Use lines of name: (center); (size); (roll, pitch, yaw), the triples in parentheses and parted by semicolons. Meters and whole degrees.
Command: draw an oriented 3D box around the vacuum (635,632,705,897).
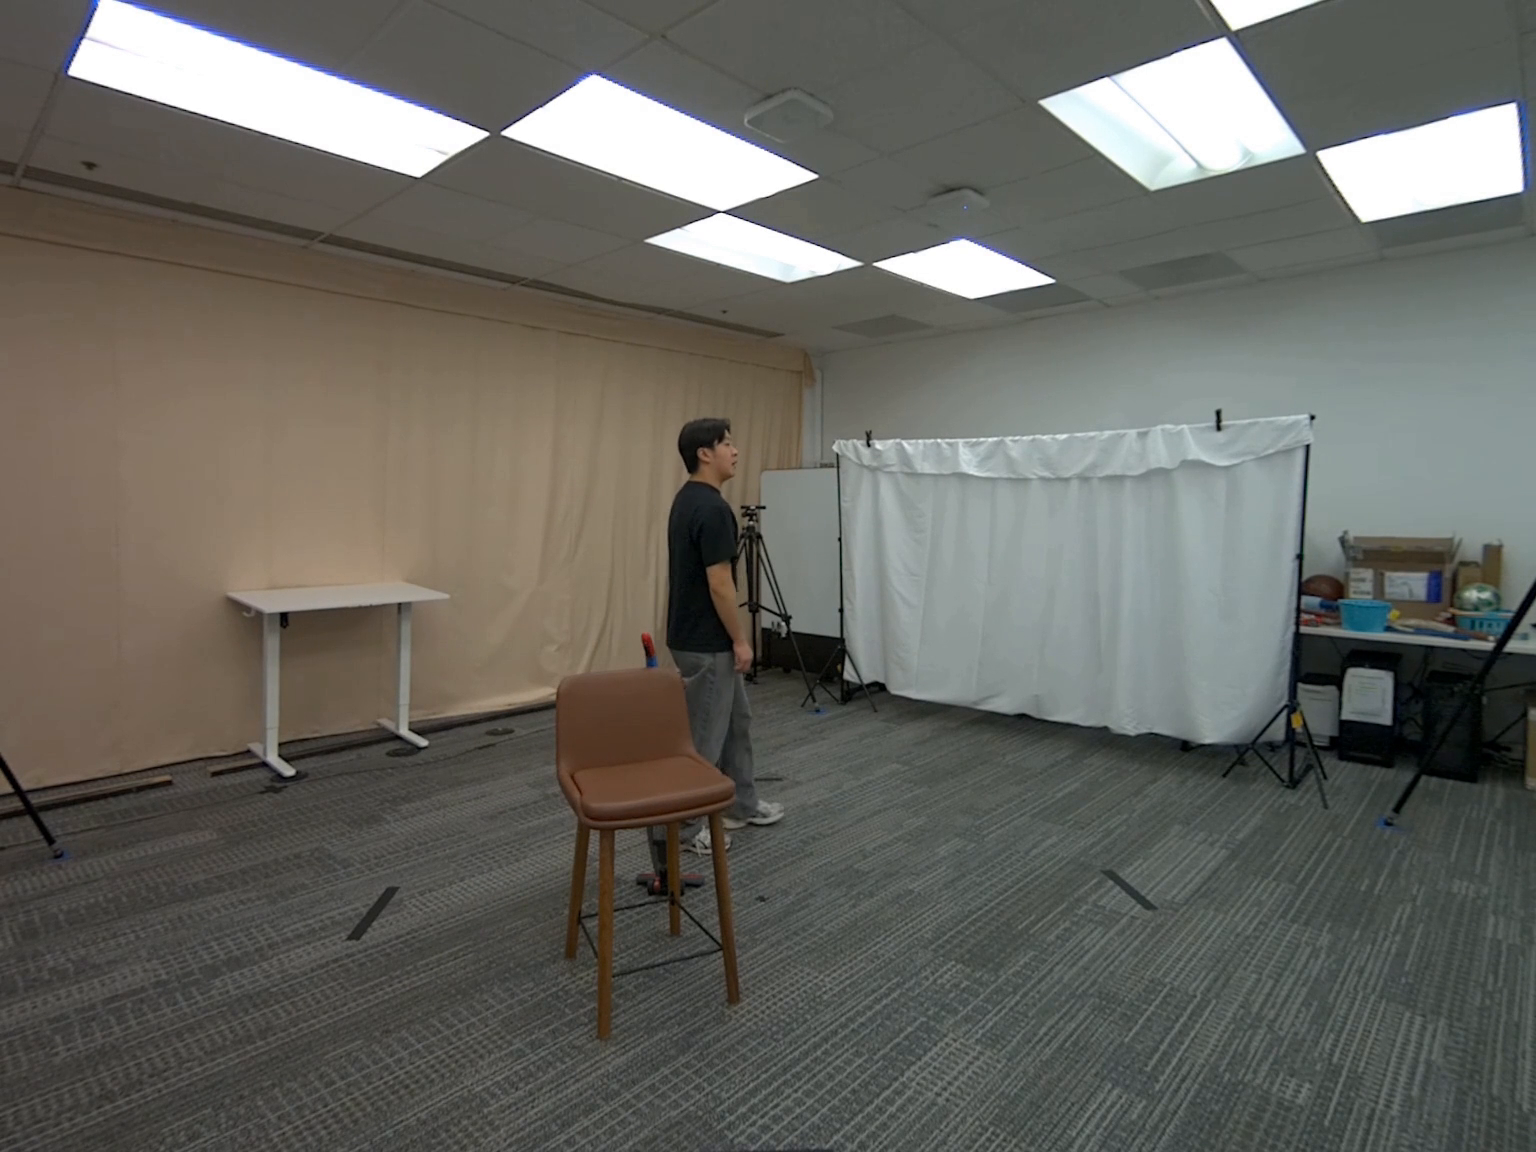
vacuum: (-0.381, 0.656, 2.862); (0.253, 1.033, 0.145); (-1, 24, 3)
